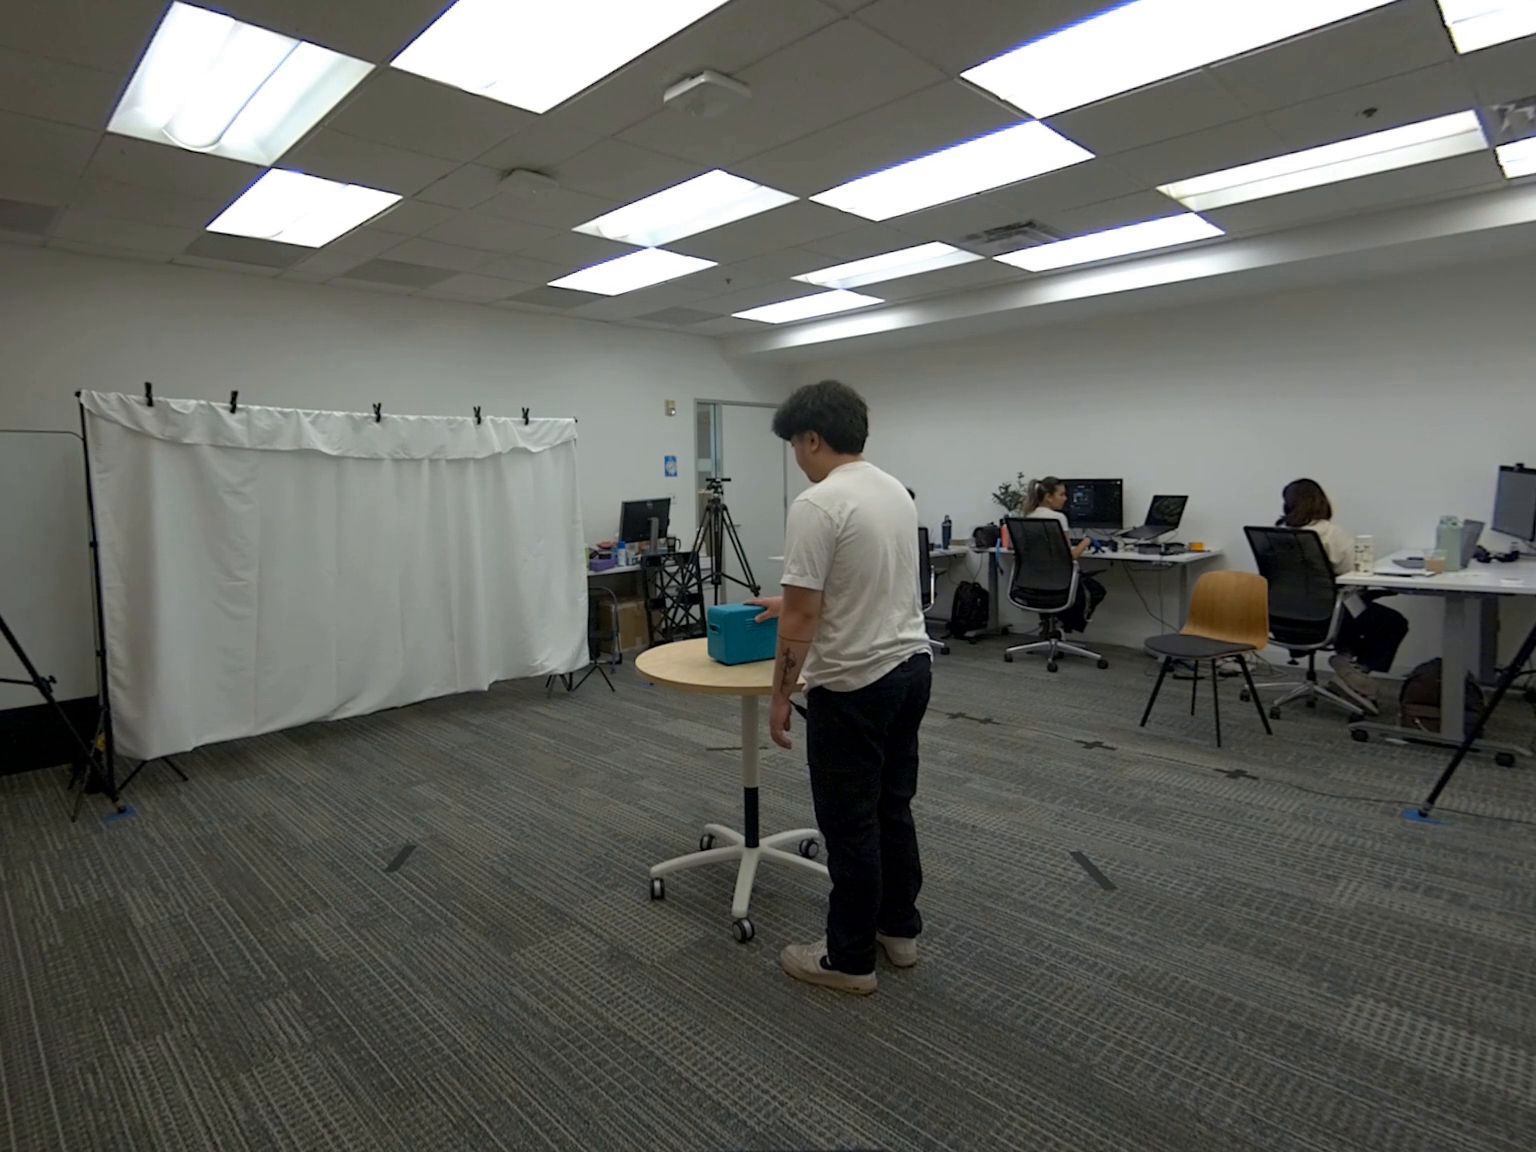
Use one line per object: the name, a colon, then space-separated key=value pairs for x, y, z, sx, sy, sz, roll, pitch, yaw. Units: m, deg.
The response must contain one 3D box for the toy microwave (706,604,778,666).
toy microwave: x=-0.056 y=0.184 z=2.870 sx=0.279 sy=0.183 sz=0.157 roll=-5 pitch=7 yaw=-30
